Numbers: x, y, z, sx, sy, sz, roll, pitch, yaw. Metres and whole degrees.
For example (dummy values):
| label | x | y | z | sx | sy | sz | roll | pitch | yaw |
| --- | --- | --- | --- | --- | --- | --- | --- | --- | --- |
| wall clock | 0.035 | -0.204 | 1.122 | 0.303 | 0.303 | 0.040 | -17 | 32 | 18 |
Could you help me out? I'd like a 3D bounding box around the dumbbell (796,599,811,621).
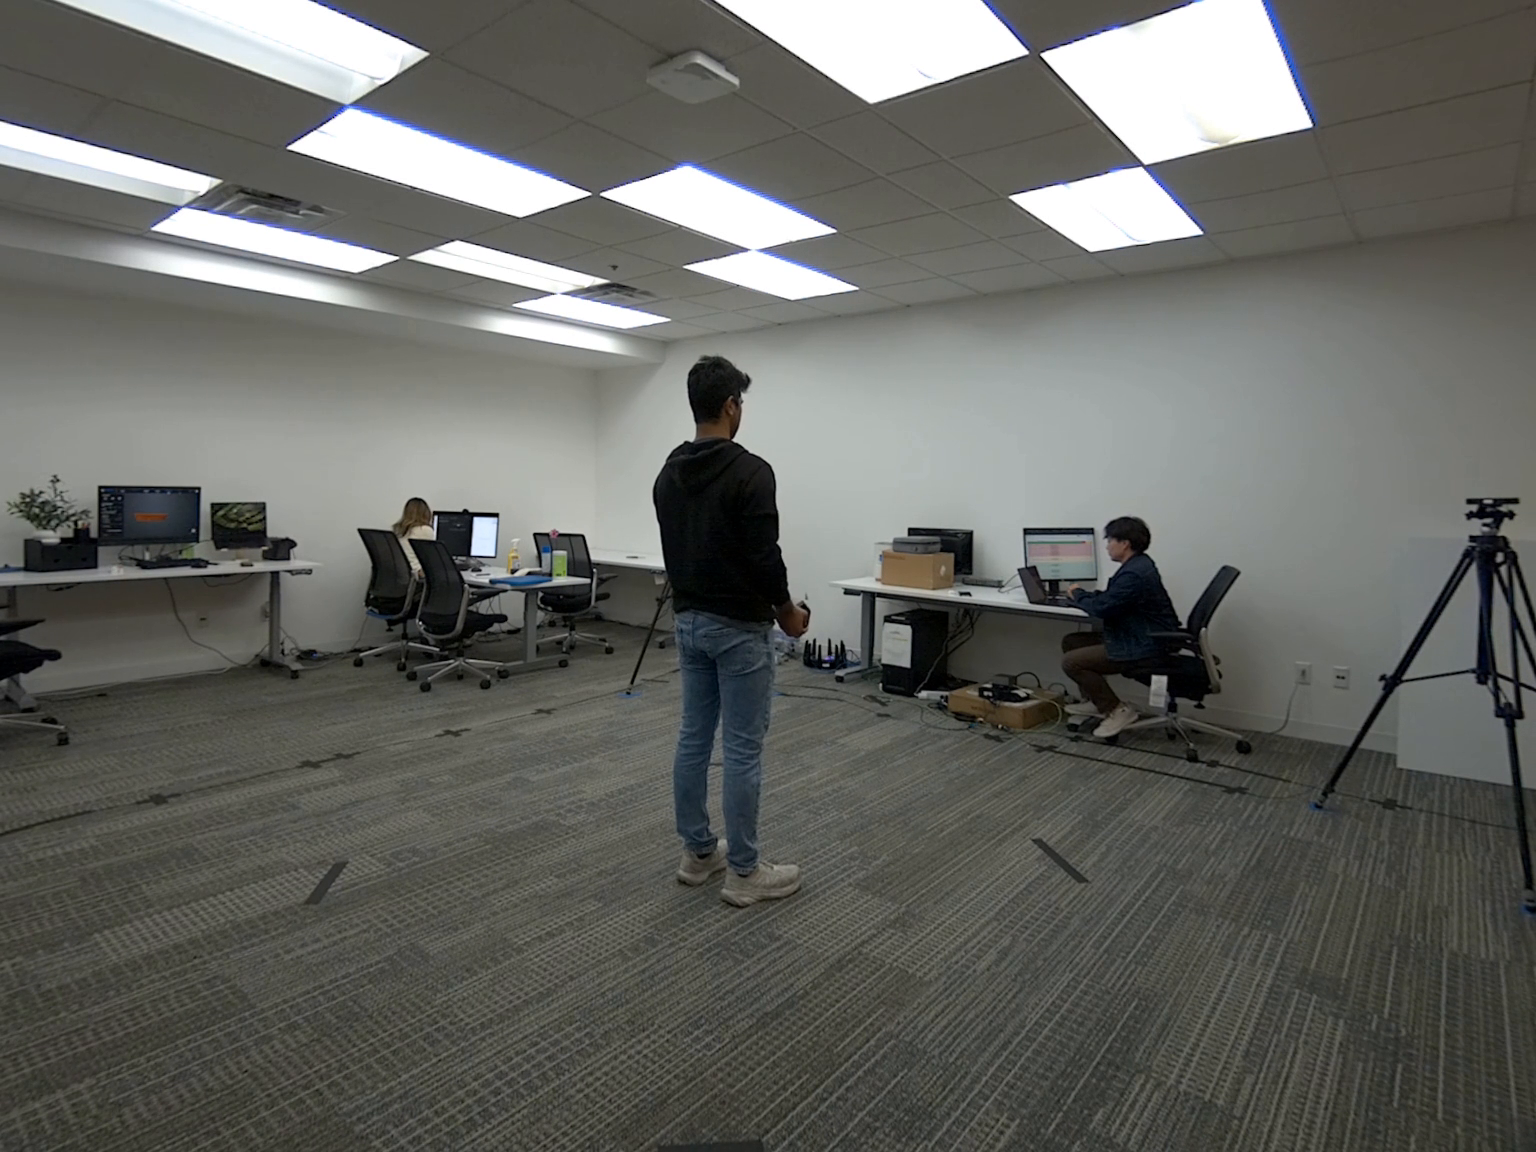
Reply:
| label | x | y | z | sx | sy | sz | roll | pitch | yaw |
| --- | --- | --- | --- | --- | --- | --- | --- | --- | --- |
| dumbbell | 0.005 | 0.119 | 3.137 | 0.105 | 0.123 | 0.304 | 9 | 1 | -45 |
